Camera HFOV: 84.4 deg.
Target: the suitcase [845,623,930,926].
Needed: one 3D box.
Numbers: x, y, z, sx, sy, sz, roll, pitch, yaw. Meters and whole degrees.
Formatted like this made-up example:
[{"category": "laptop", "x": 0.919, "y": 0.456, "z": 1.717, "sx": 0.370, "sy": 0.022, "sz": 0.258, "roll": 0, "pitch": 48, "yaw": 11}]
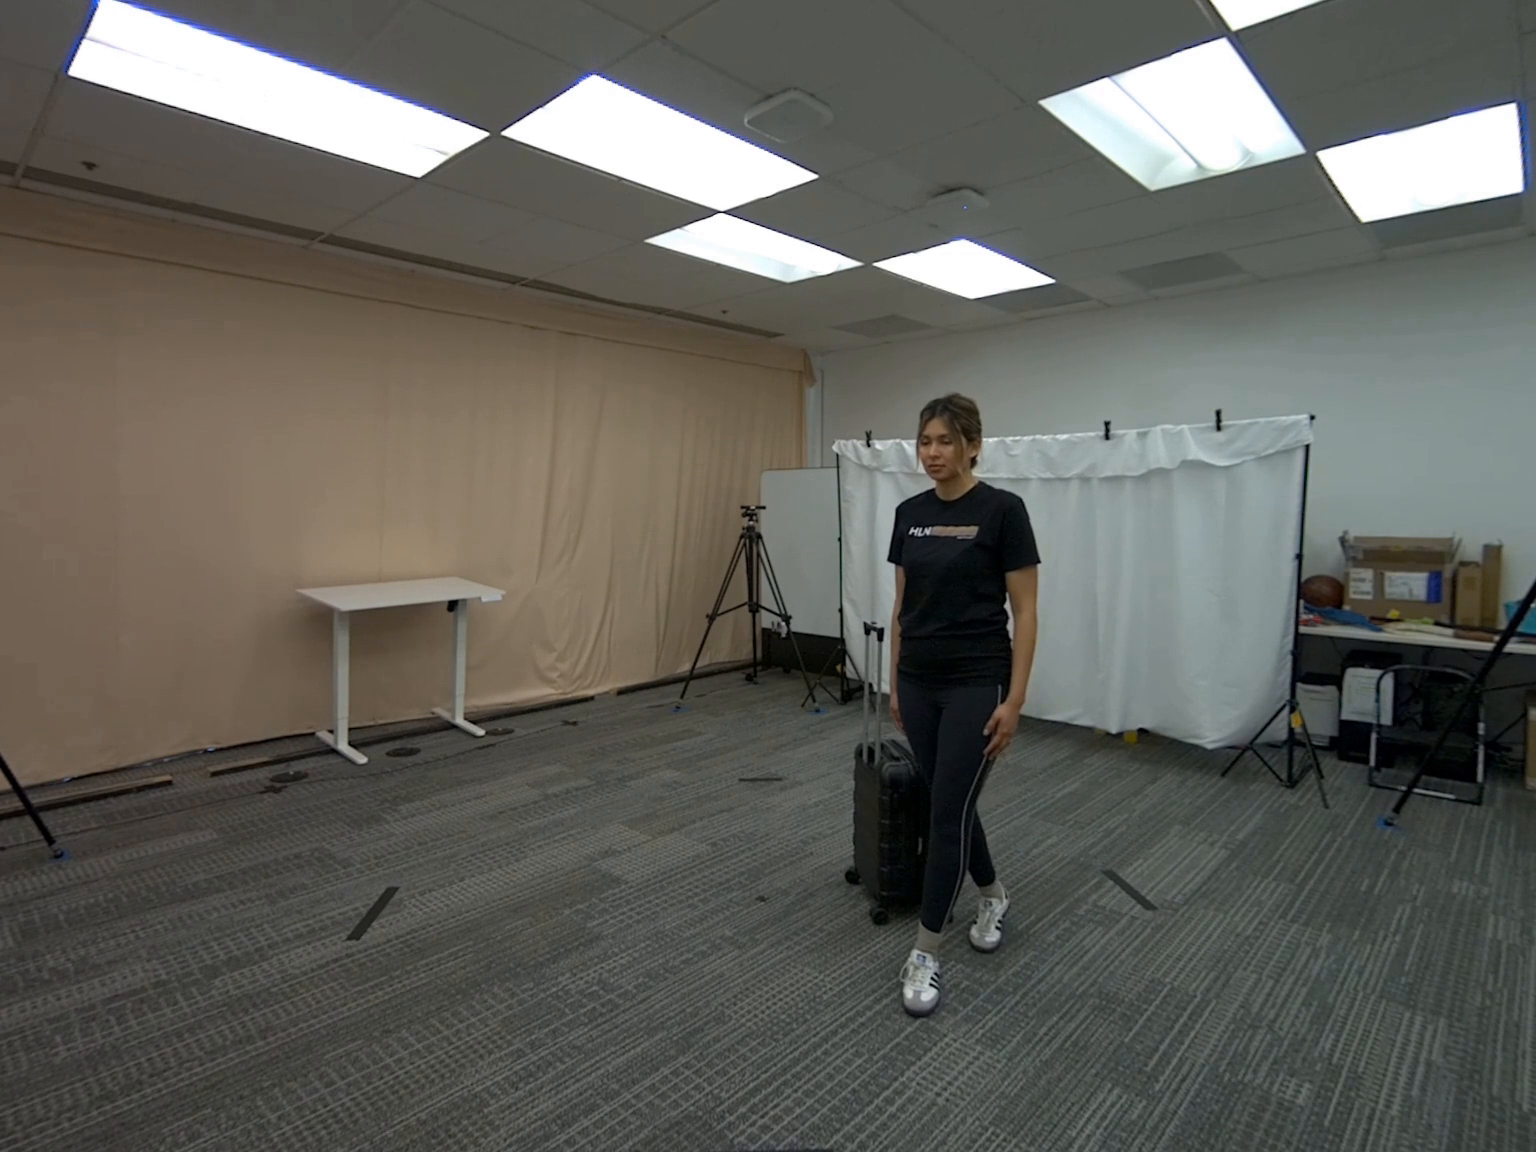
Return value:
[{"category": "suitcase", "x": 0.468, "y": 0.667, "z": 2.945, "sx": 0.255, "sy": 0.976, "sz": 0.388, "roll": 2, "pitch": 5, "yaw": -8}]
